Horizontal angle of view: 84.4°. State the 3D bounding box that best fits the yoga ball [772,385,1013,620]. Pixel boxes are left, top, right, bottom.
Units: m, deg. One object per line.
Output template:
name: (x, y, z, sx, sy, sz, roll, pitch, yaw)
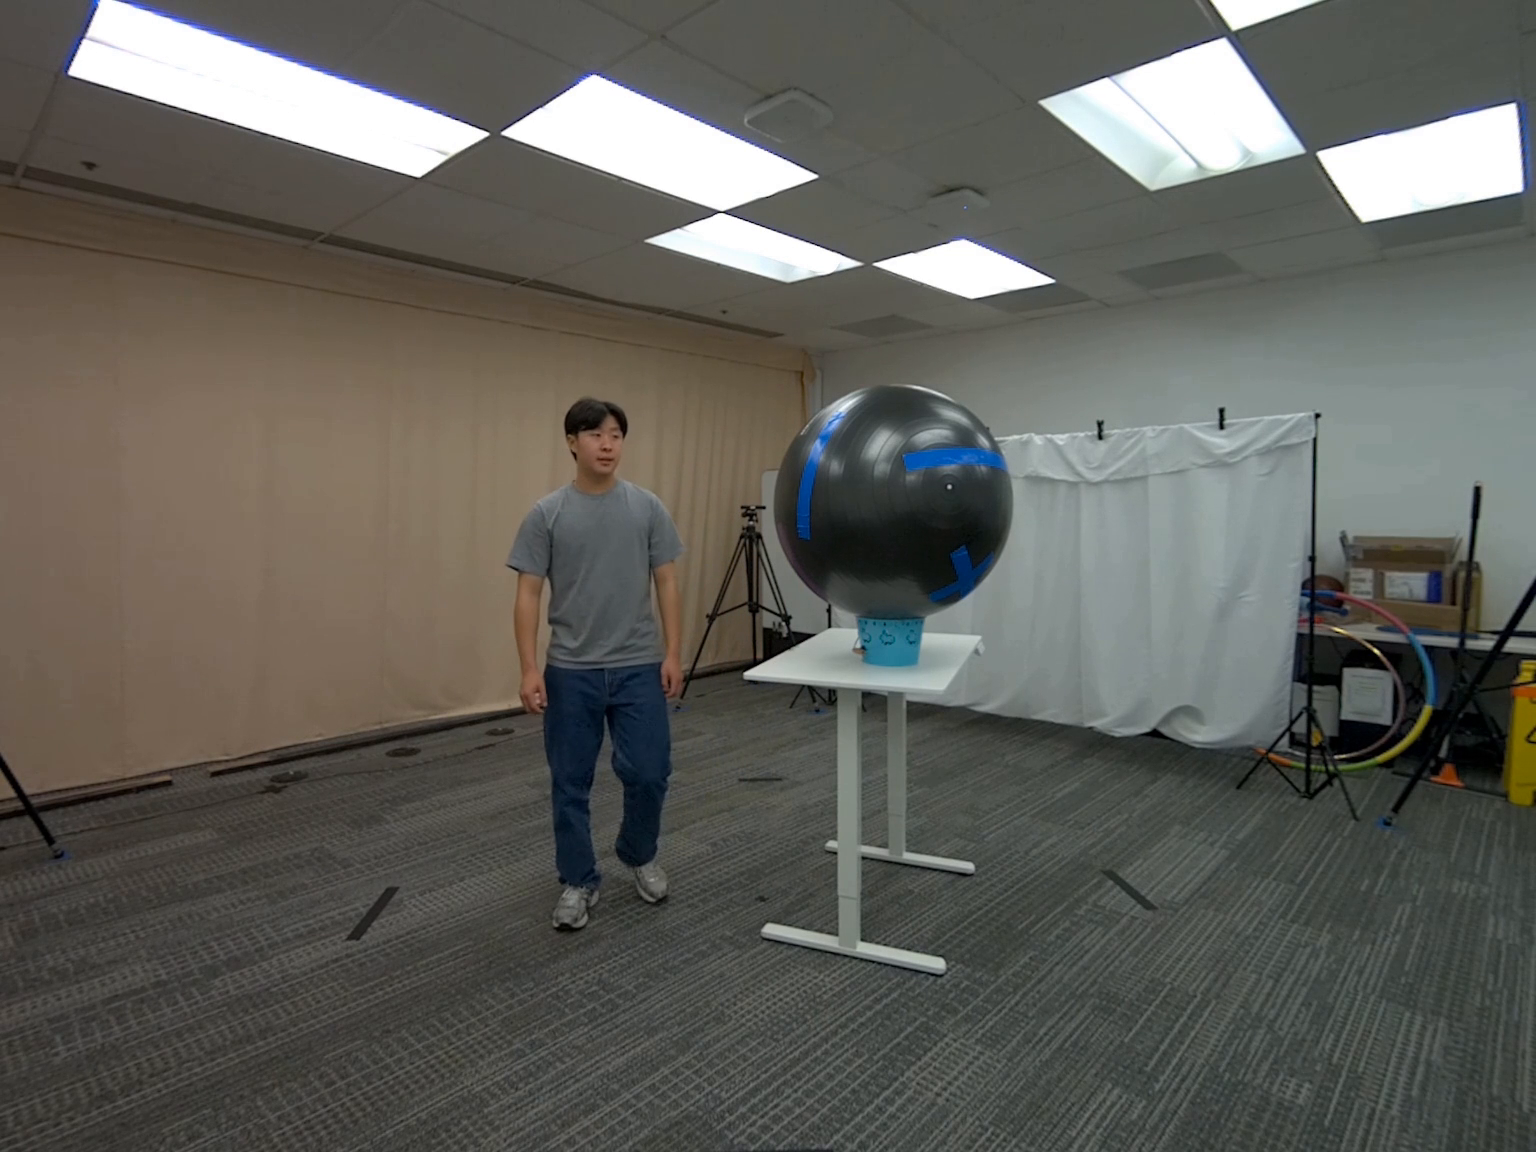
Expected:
yoga ball: (0.402, -0.229, 2.743, 0.757, 0.756, 0.760, 0, 4, -2)
